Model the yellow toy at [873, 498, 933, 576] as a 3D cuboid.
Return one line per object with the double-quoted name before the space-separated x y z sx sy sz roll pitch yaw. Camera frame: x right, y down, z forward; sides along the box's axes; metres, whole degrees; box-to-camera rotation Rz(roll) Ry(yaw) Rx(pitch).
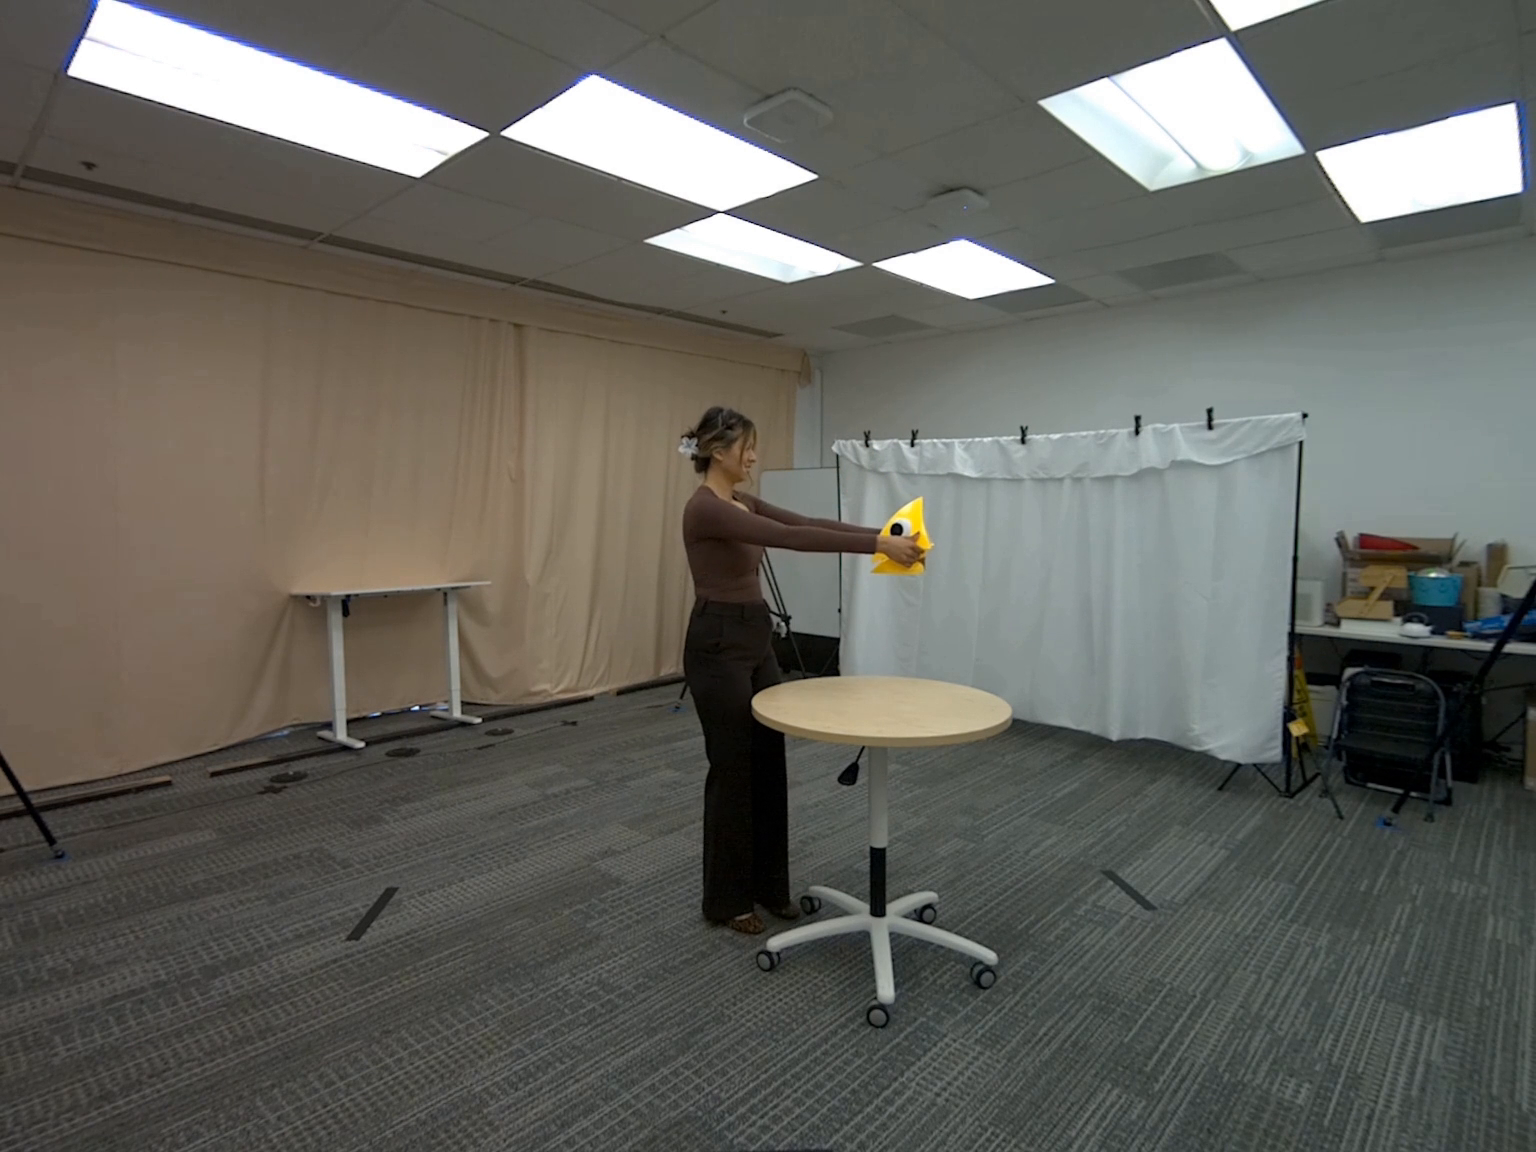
"yellow toy" 0.437 -0.129 2.630 0.196 0.230 0.202 1 5 13
